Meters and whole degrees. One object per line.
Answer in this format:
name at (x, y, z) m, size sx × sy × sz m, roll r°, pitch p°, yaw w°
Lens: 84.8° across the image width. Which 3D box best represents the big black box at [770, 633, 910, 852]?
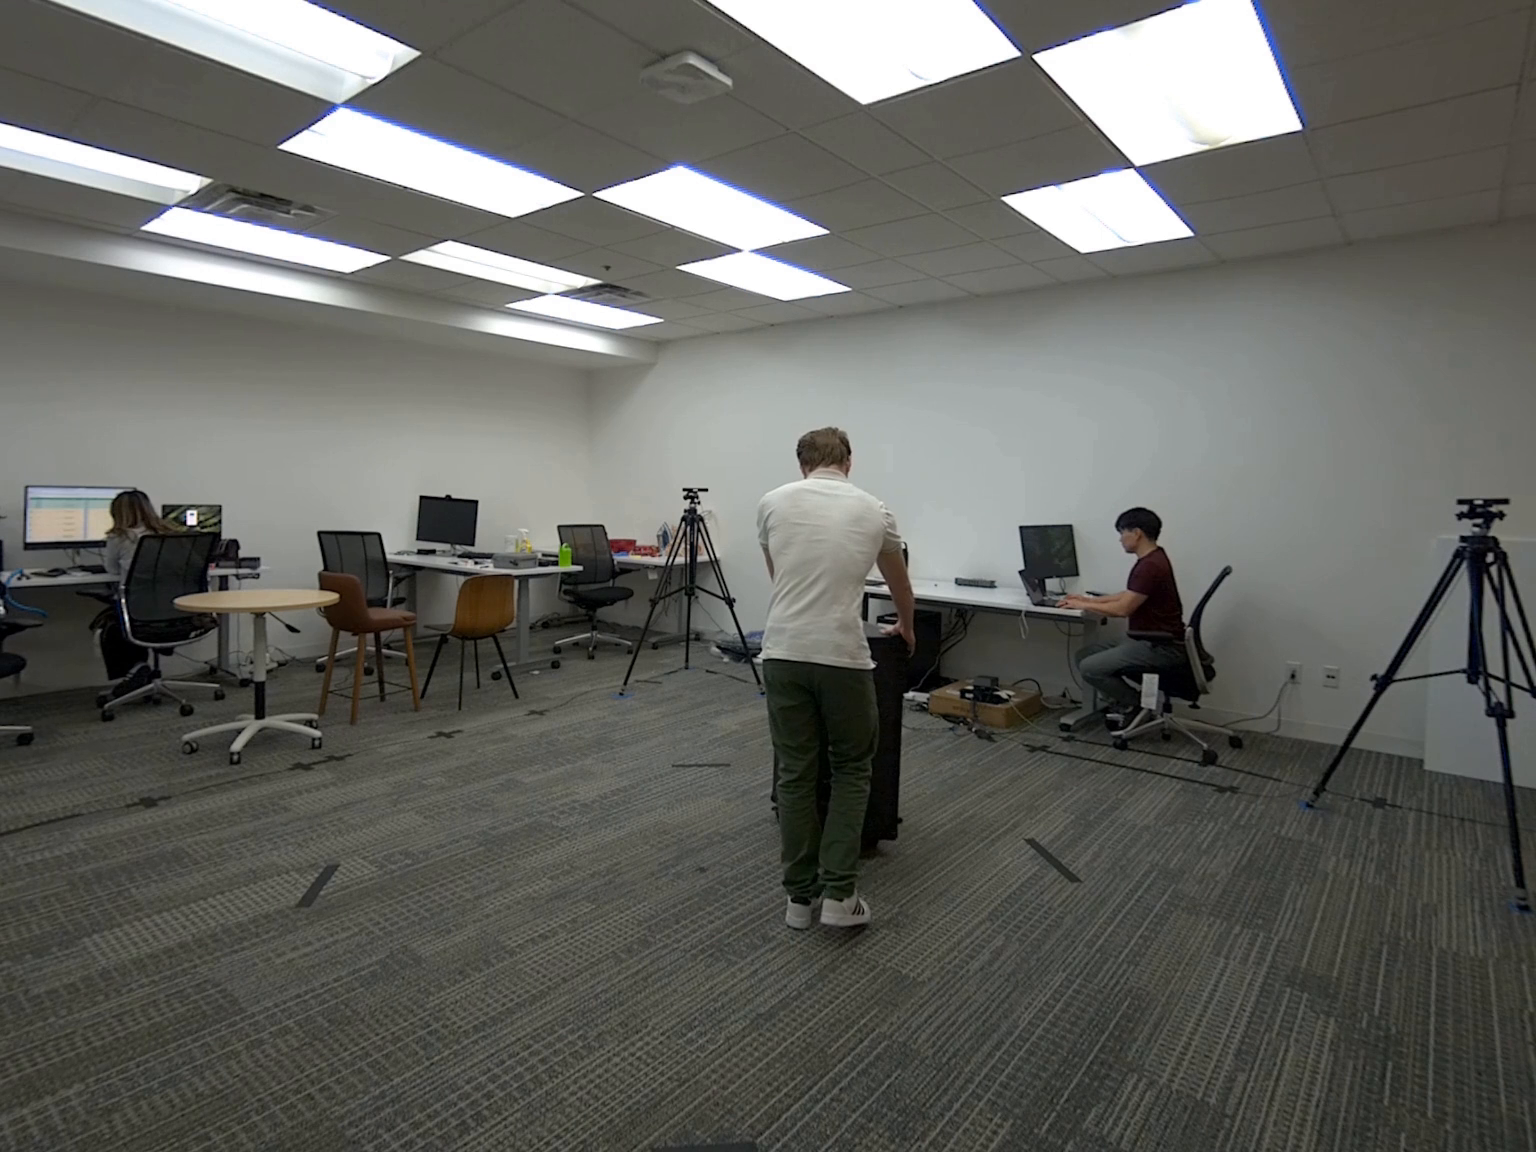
big black box at (0.261, 0.624, 3.420) m, size 0.379 × 0.866 × 0.534 m, roll 1°, pitch 3°, yaw -17°
